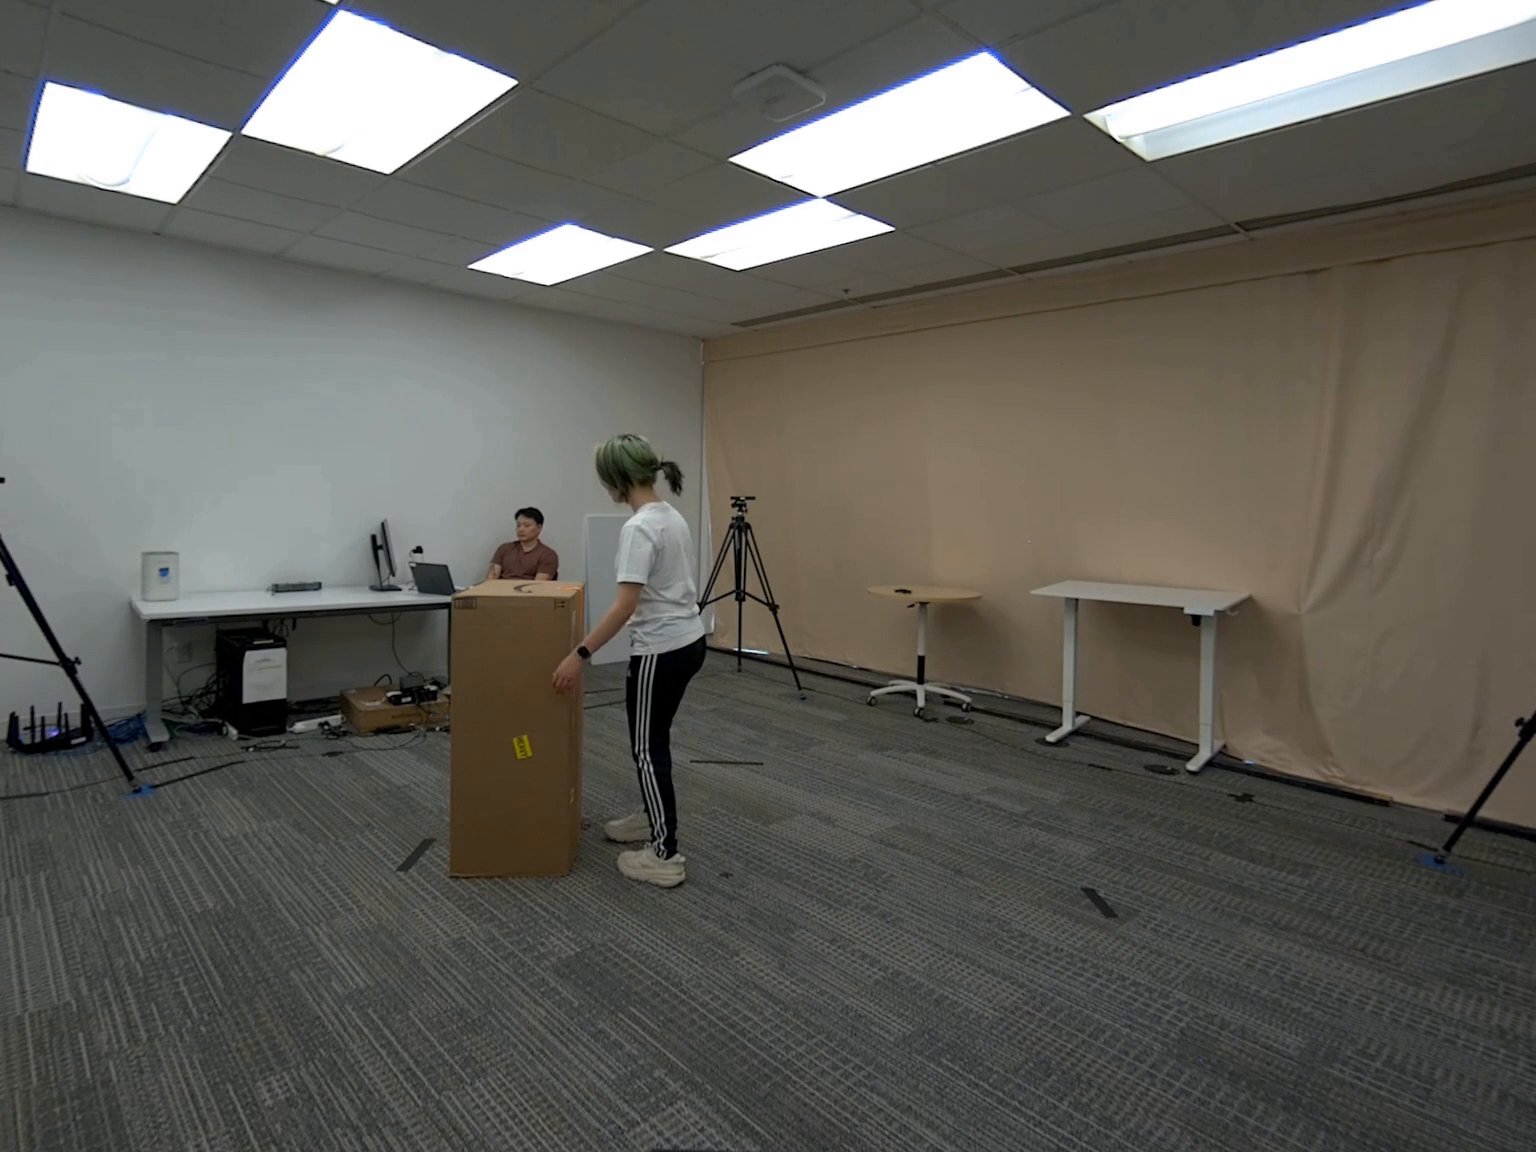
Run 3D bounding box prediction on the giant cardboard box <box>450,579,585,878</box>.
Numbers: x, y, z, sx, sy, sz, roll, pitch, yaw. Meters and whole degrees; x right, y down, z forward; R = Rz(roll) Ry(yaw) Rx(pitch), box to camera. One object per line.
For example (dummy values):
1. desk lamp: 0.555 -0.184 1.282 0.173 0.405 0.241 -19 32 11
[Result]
1. giant cardboard box: -0.965 0.559 3.310 0.445 1.025 0.588 0 3 -7
